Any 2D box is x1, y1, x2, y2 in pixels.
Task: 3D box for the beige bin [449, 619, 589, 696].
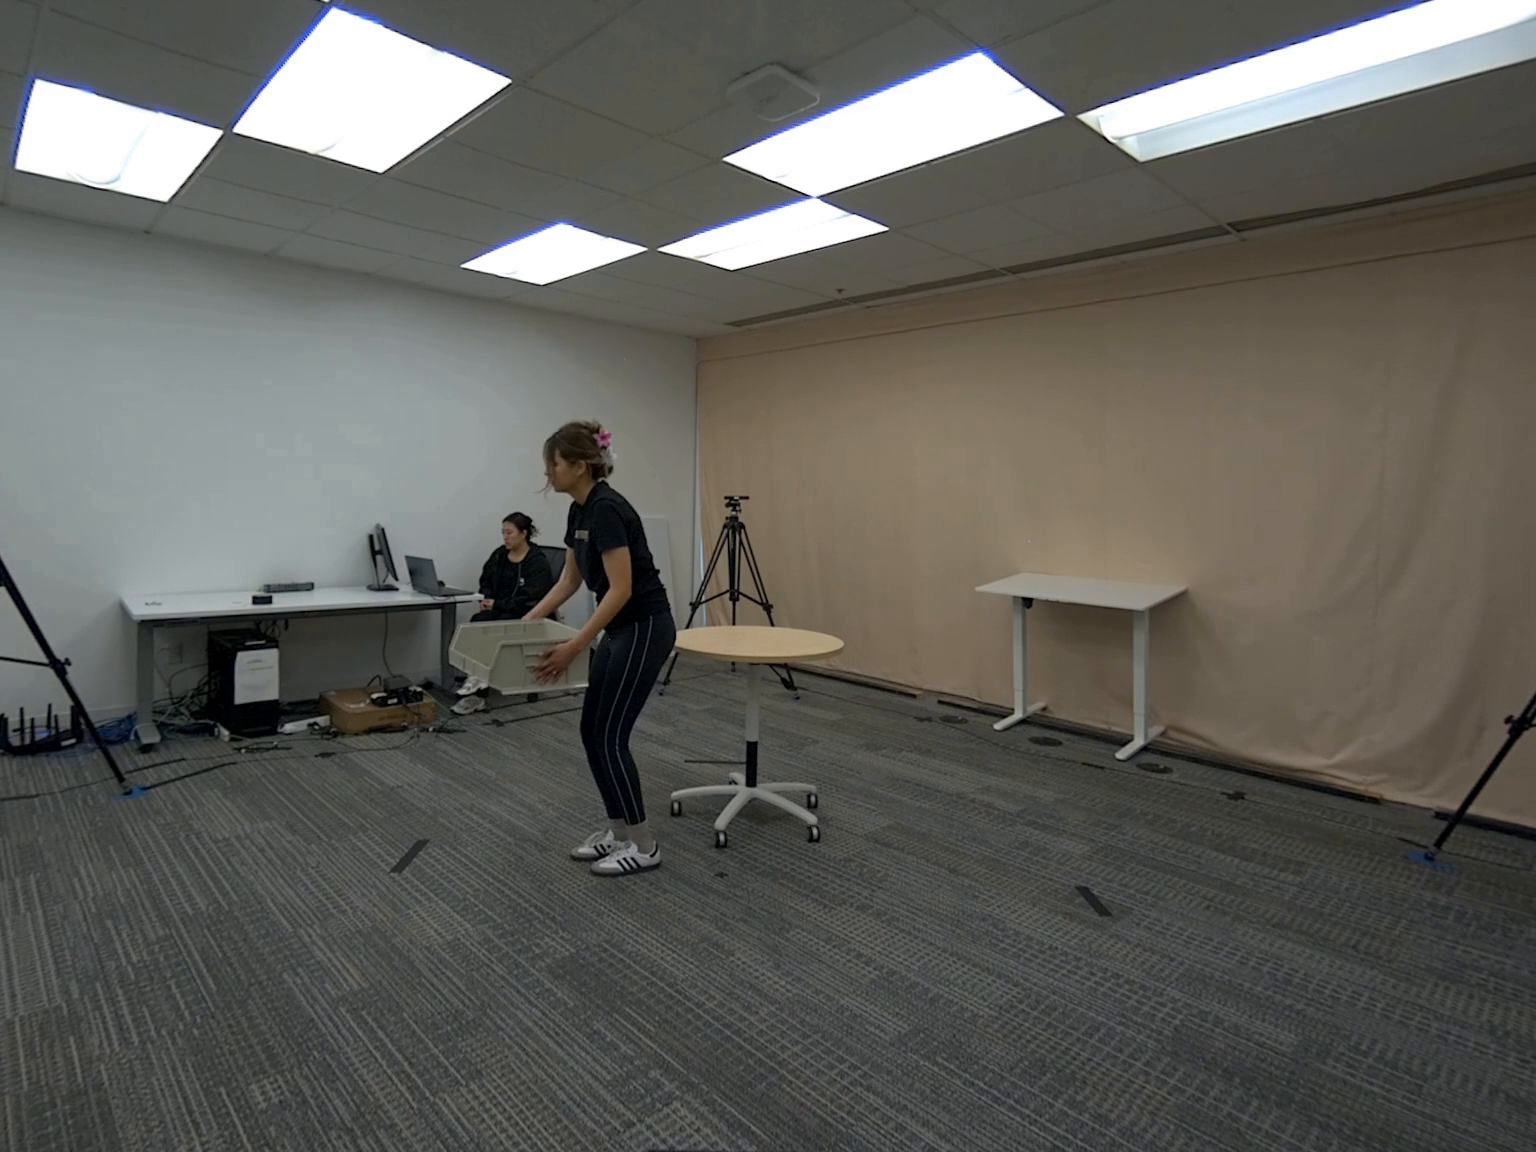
[{"bbox_3d":[-0.892,0.288,3.000,0.368,0.188,0.433,1,5,-38],"label":"beige bin"}]
